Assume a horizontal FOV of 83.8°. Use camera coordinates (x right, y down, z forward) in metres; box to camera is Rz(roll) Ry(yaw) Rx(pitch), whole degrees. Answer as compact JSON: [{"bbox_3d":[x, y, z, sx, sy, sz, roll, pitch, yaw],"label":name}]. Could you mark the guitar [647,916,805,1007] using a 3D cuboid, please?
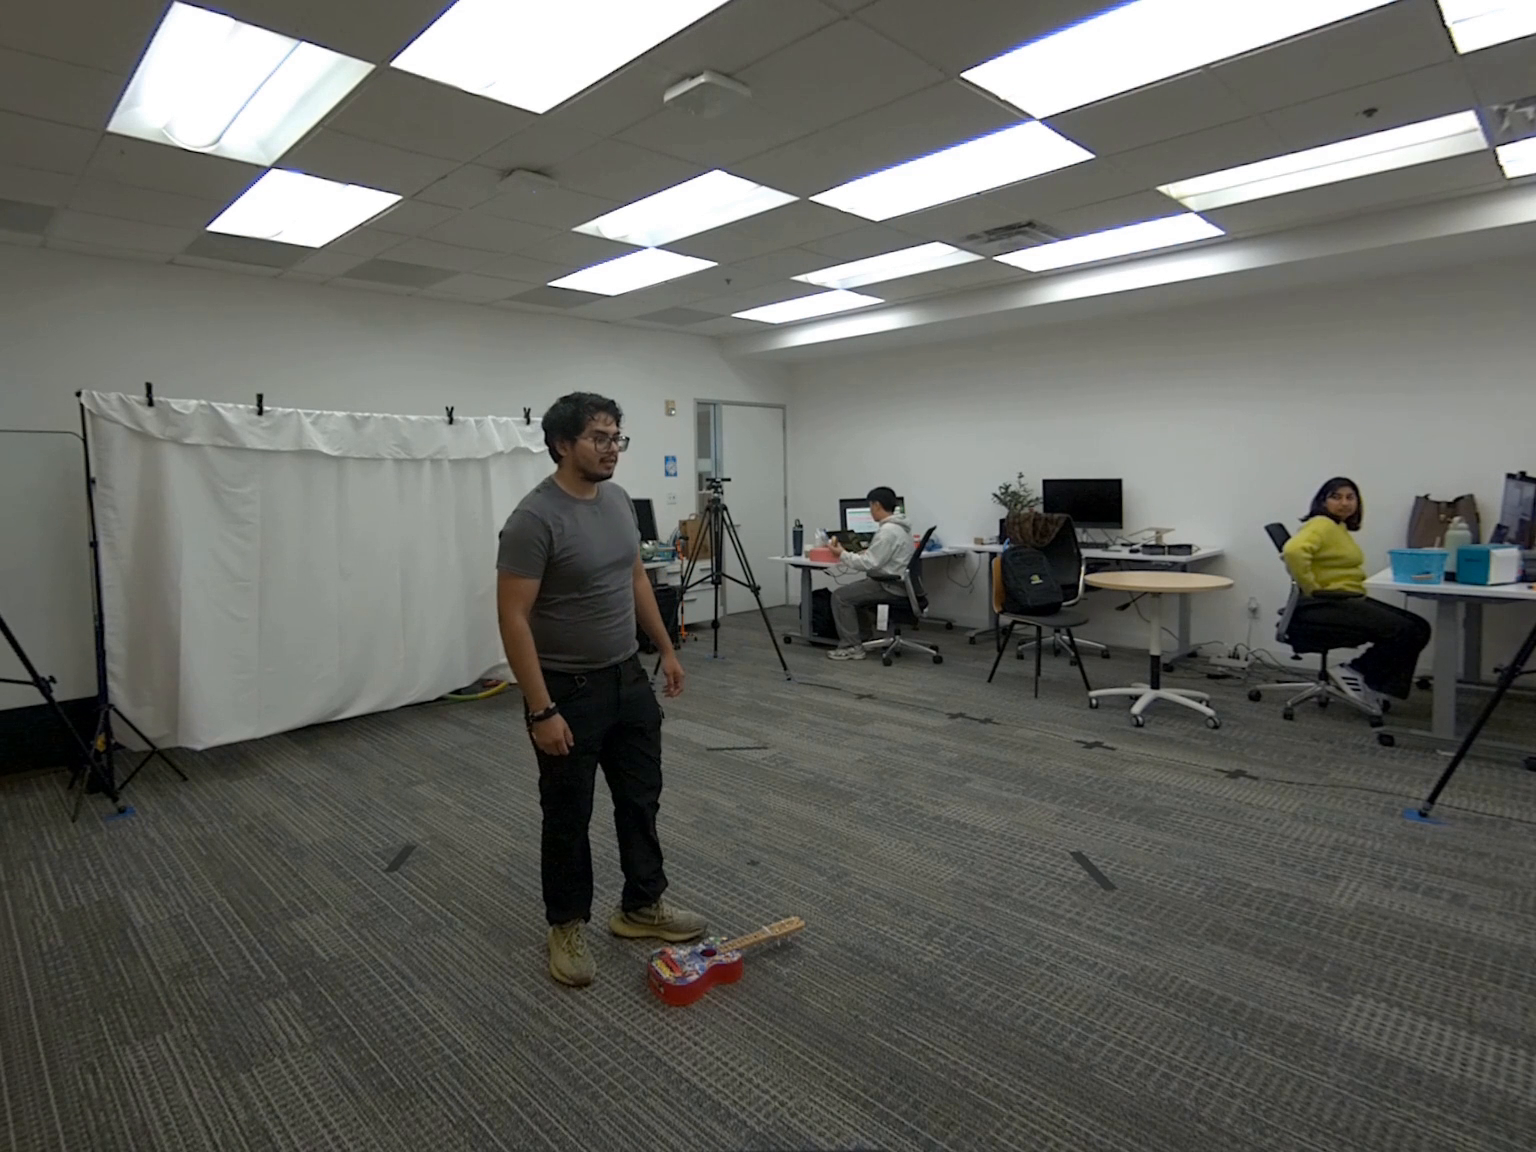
[{"bbox_3d":[-0.090,1.086,2.430,0.489,0.070,0.197,-3,7,-21],"label":"guitar"}]
